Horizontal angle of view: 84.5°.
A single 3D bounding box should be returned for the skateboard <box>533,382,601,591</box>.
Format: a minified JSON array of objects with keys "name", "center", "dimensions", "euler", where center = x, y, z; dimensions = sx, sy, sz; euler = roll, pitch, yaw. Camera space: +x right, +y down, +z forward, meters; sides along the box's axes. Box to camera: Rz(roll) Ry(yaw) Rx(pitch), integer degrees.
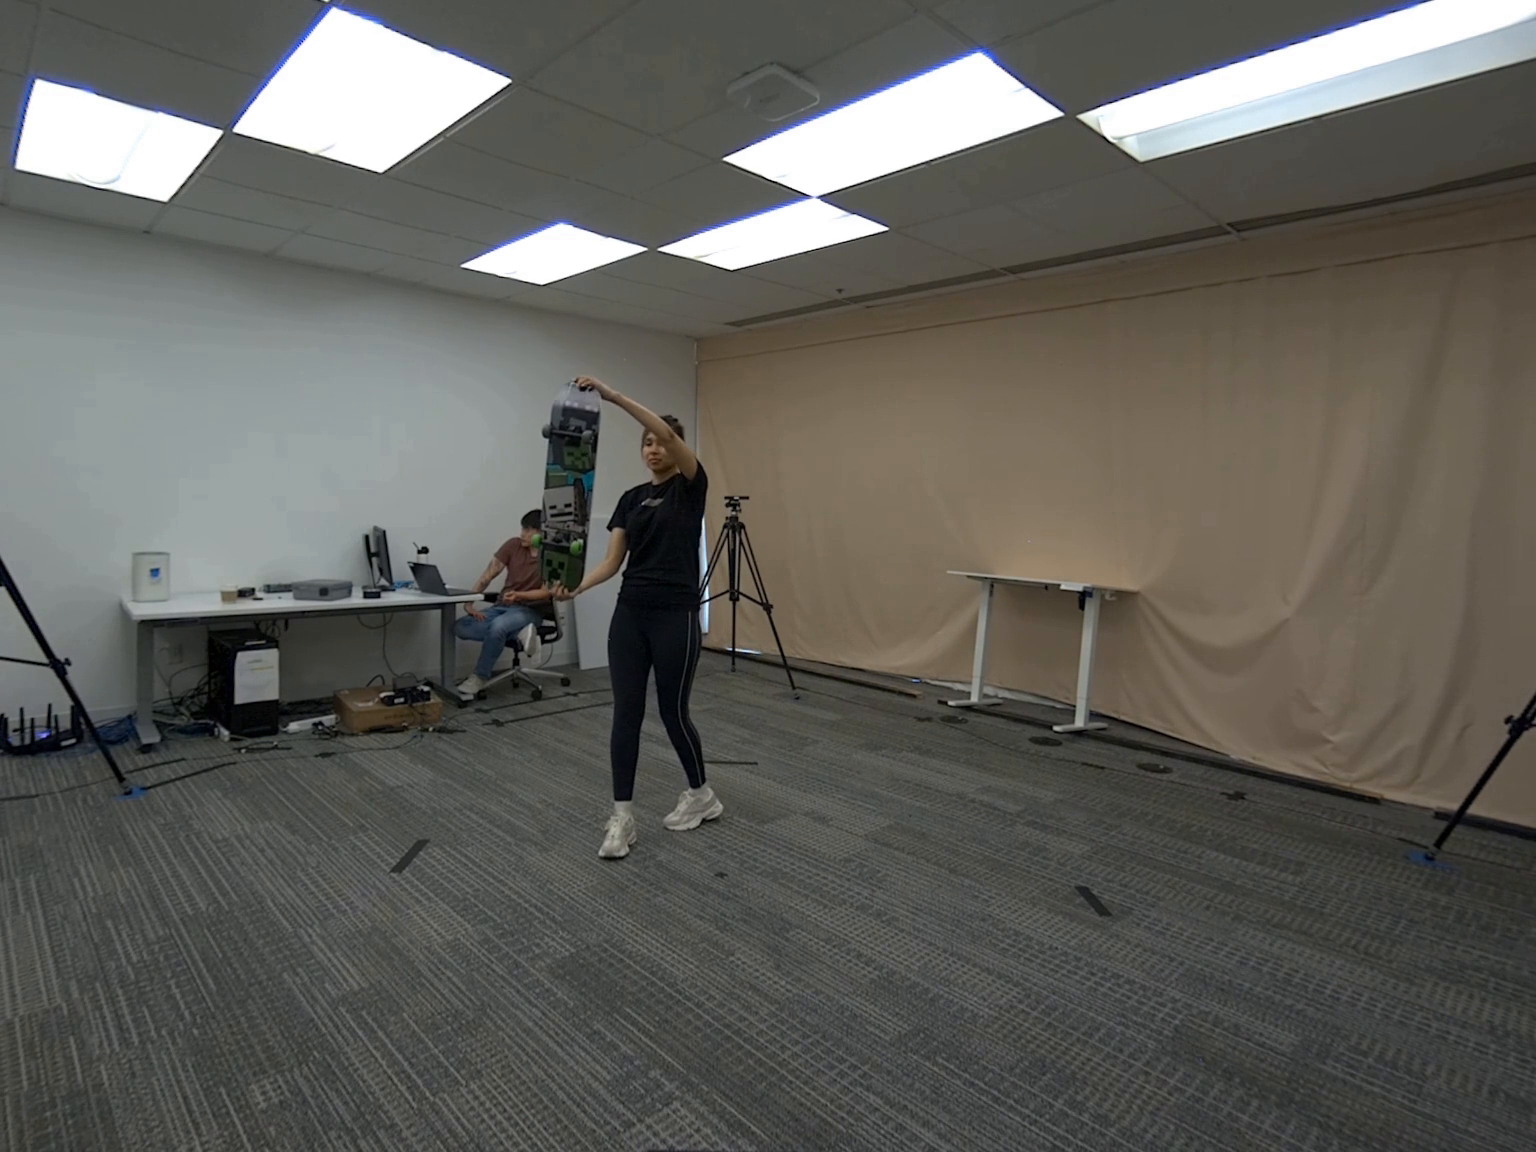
[{"name":"skateboard","center":[-0.737,-0.311,3.034],"dimensions":[0.196,0.781,0.110],"euler":[8,9,13]}]
